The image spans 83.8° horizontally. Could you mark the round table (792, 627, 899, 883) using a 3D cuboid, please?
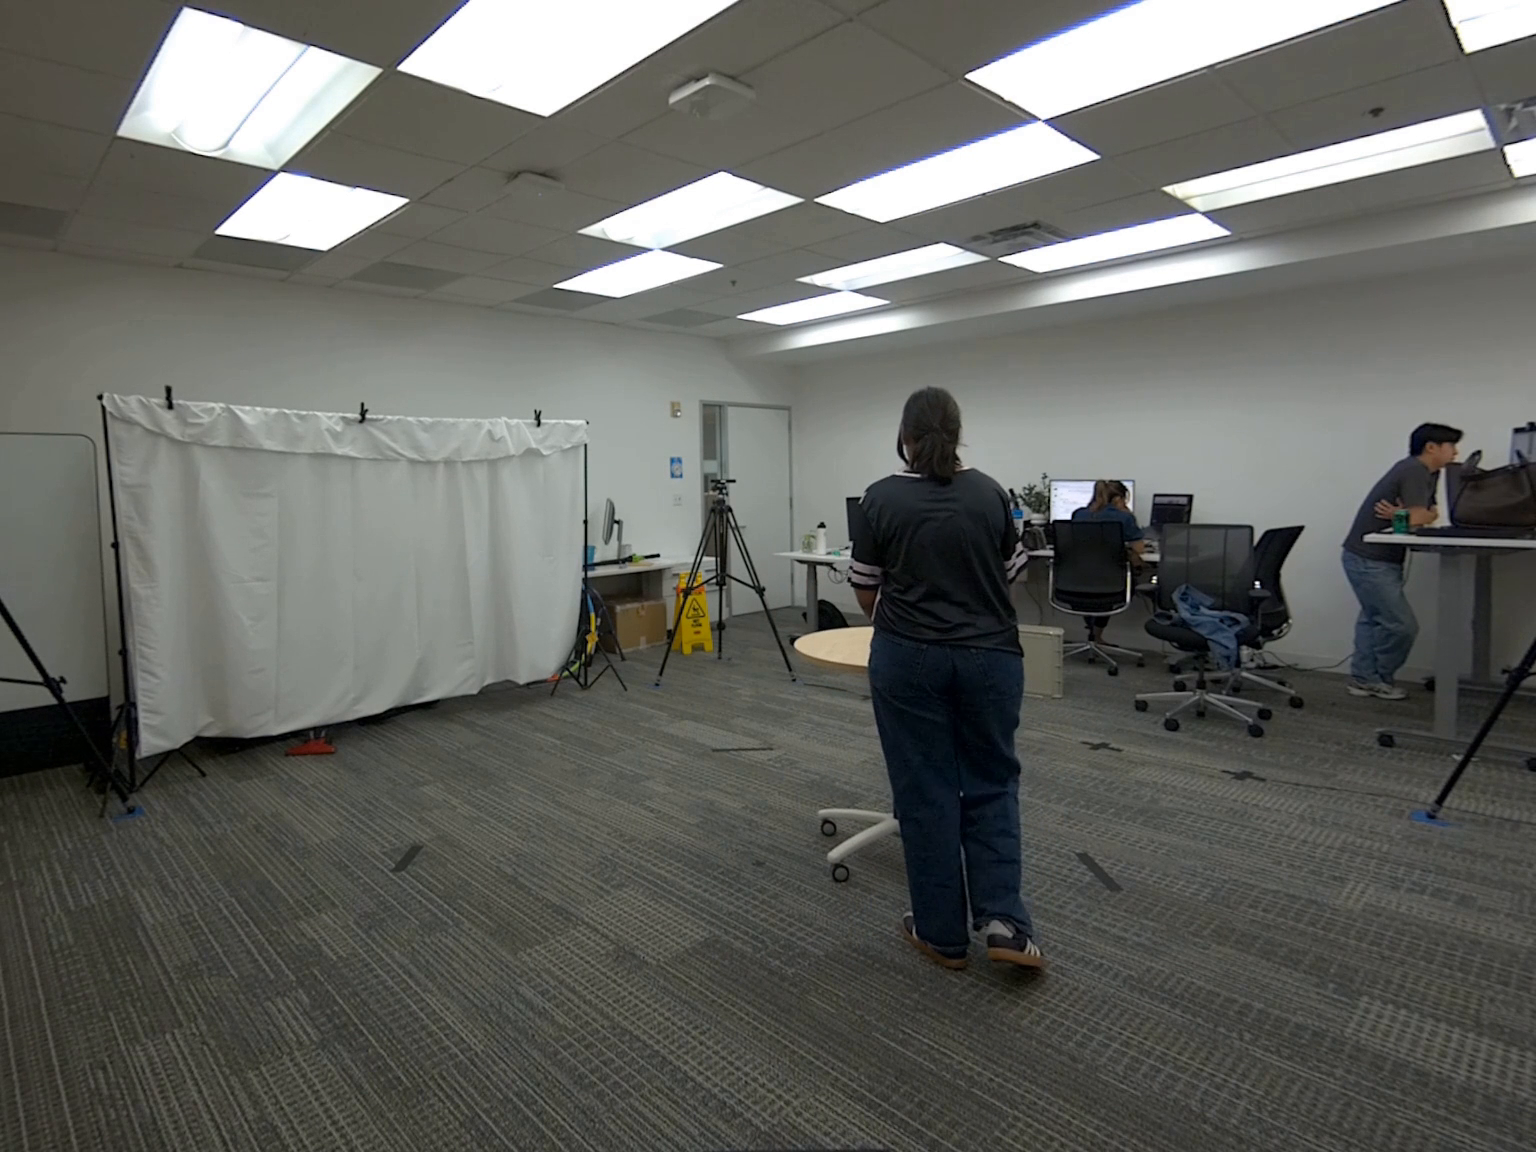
[{"bbox_3d":[0.481,0.640,3.150,0.784,0.783,0.790,-1,6,-2],"label":"round table"}]
